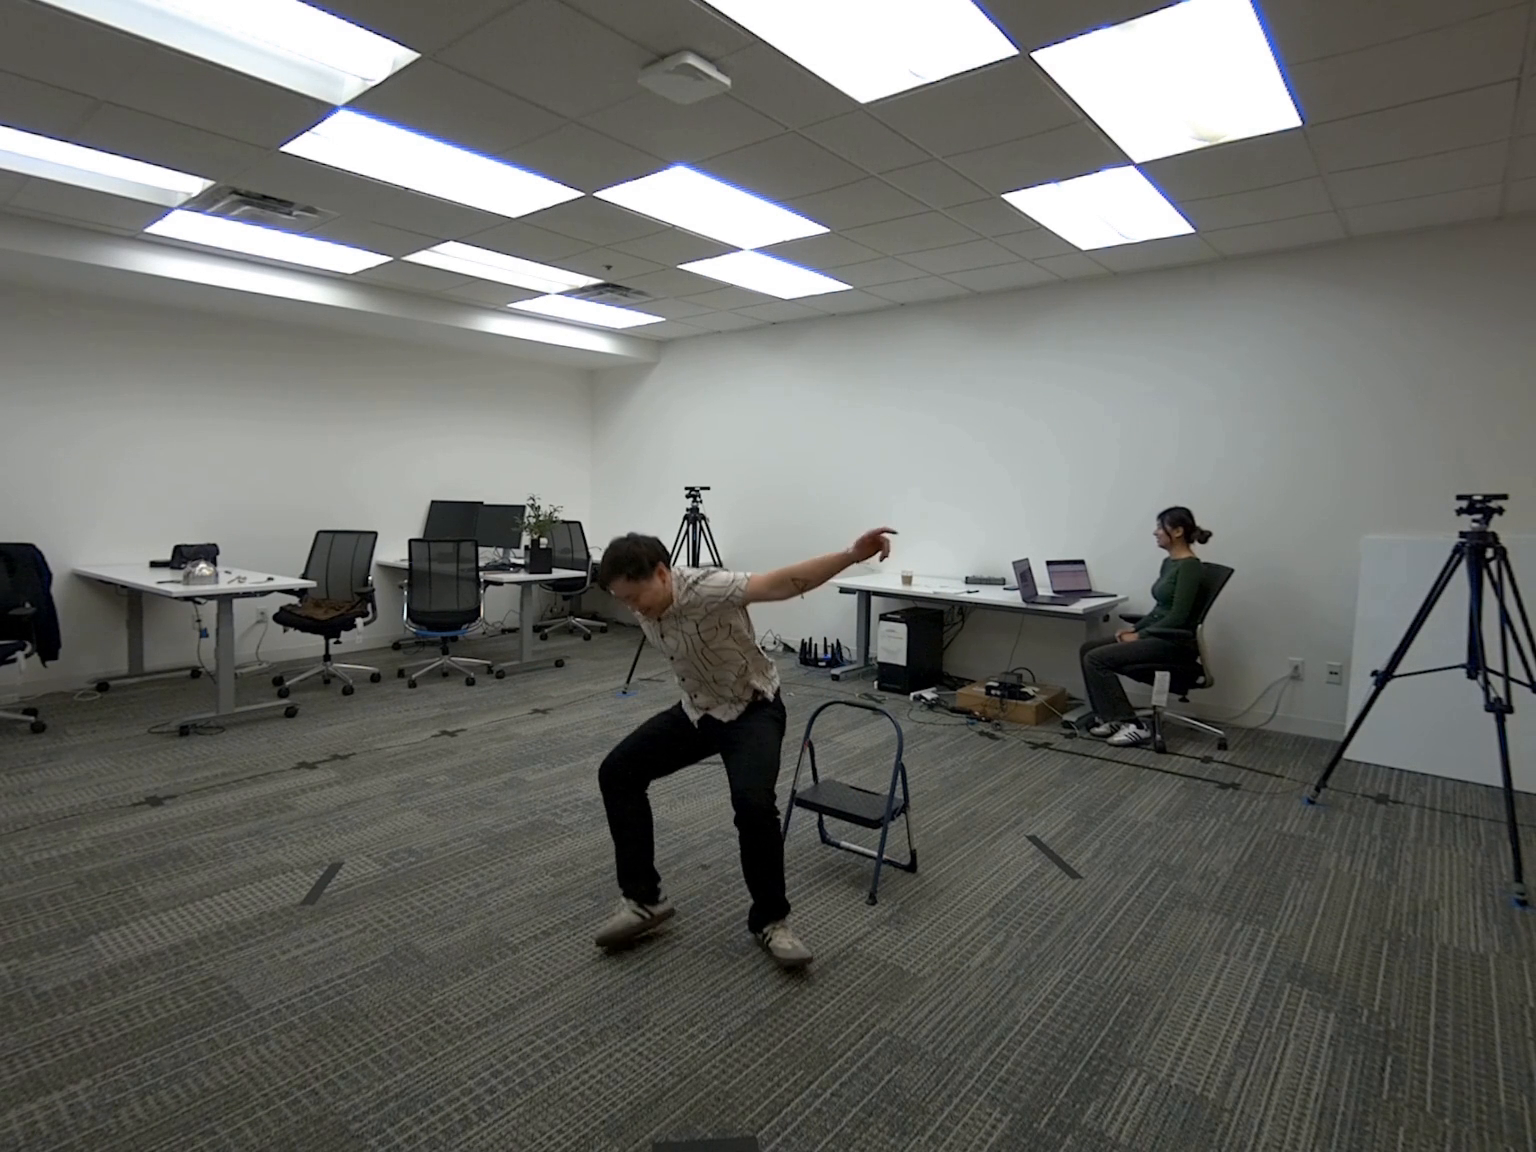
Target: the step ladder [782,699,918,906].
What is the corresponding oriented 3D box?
[{"bbox_3d":[0.282,0.771,3.102,0.445,0.604,0.339,4,4,37],"label":"step ladder"}]
